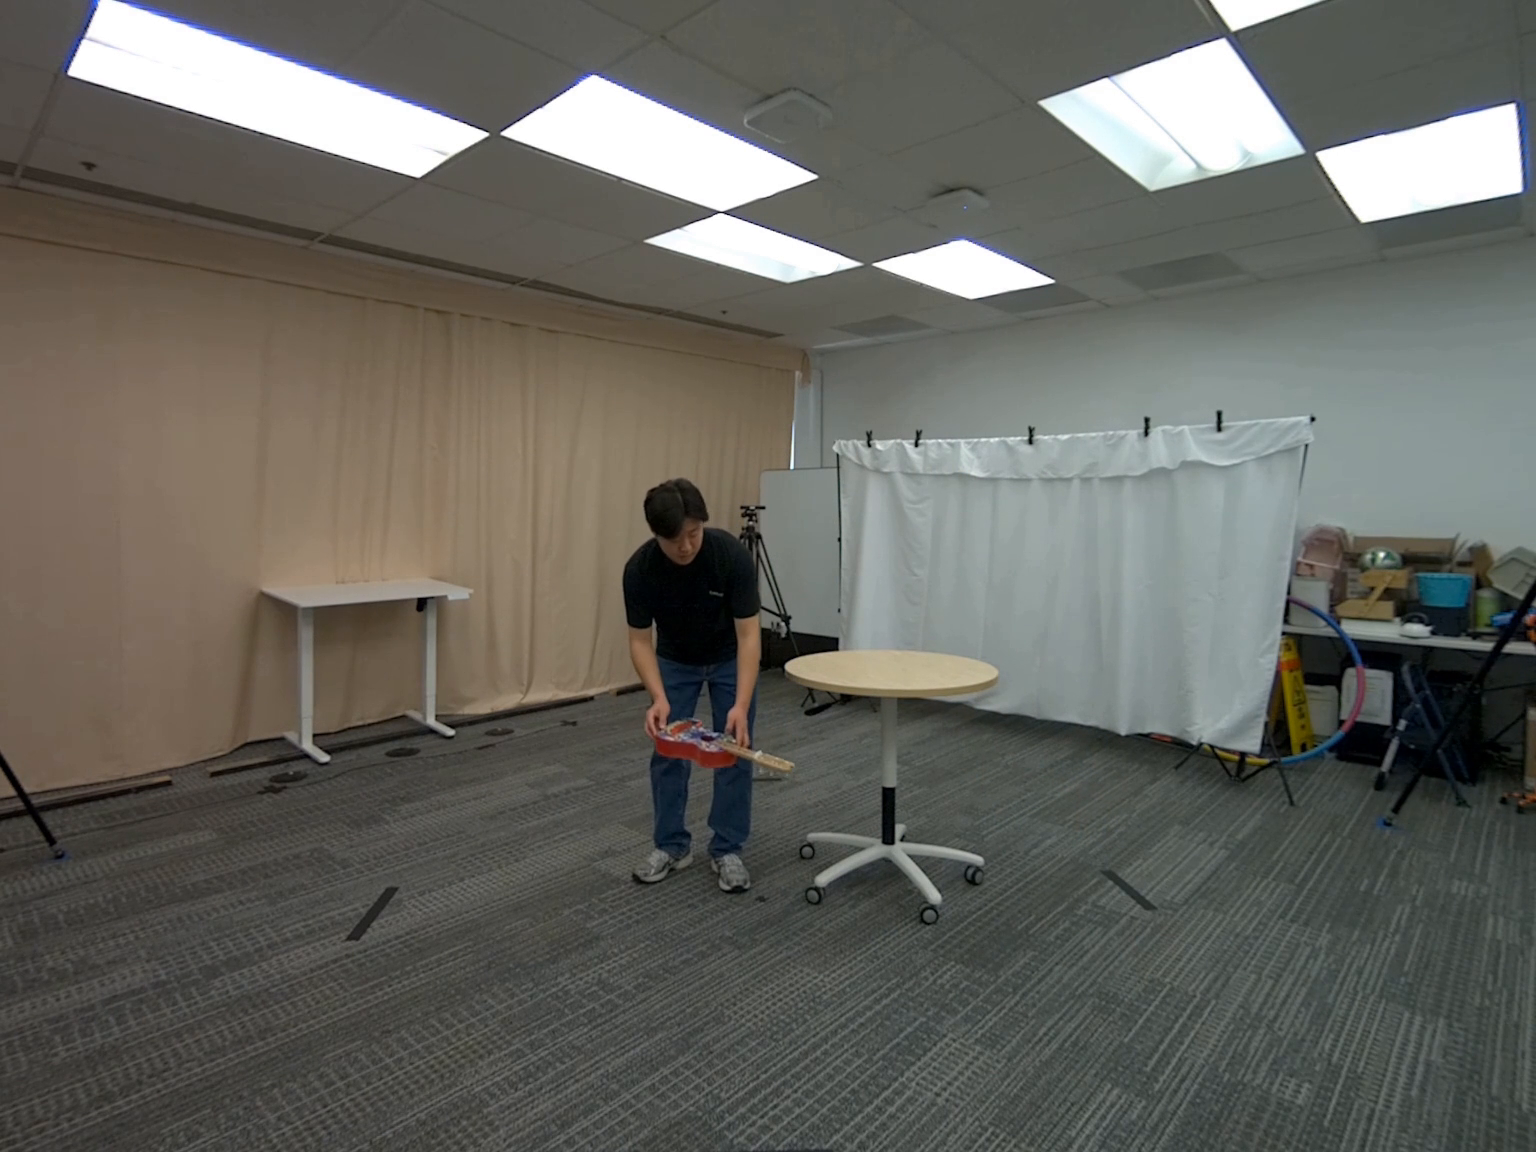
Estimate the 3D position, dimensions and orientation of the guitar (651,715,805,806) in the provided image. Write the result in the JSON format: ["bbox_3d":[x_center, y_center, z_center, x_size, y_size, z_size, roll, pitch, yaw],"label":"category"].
[{"bbox_3d":[-0.139,0.576,2.702,0.516,0.070,0.187,13,17,43],"label":"guitar"}]
